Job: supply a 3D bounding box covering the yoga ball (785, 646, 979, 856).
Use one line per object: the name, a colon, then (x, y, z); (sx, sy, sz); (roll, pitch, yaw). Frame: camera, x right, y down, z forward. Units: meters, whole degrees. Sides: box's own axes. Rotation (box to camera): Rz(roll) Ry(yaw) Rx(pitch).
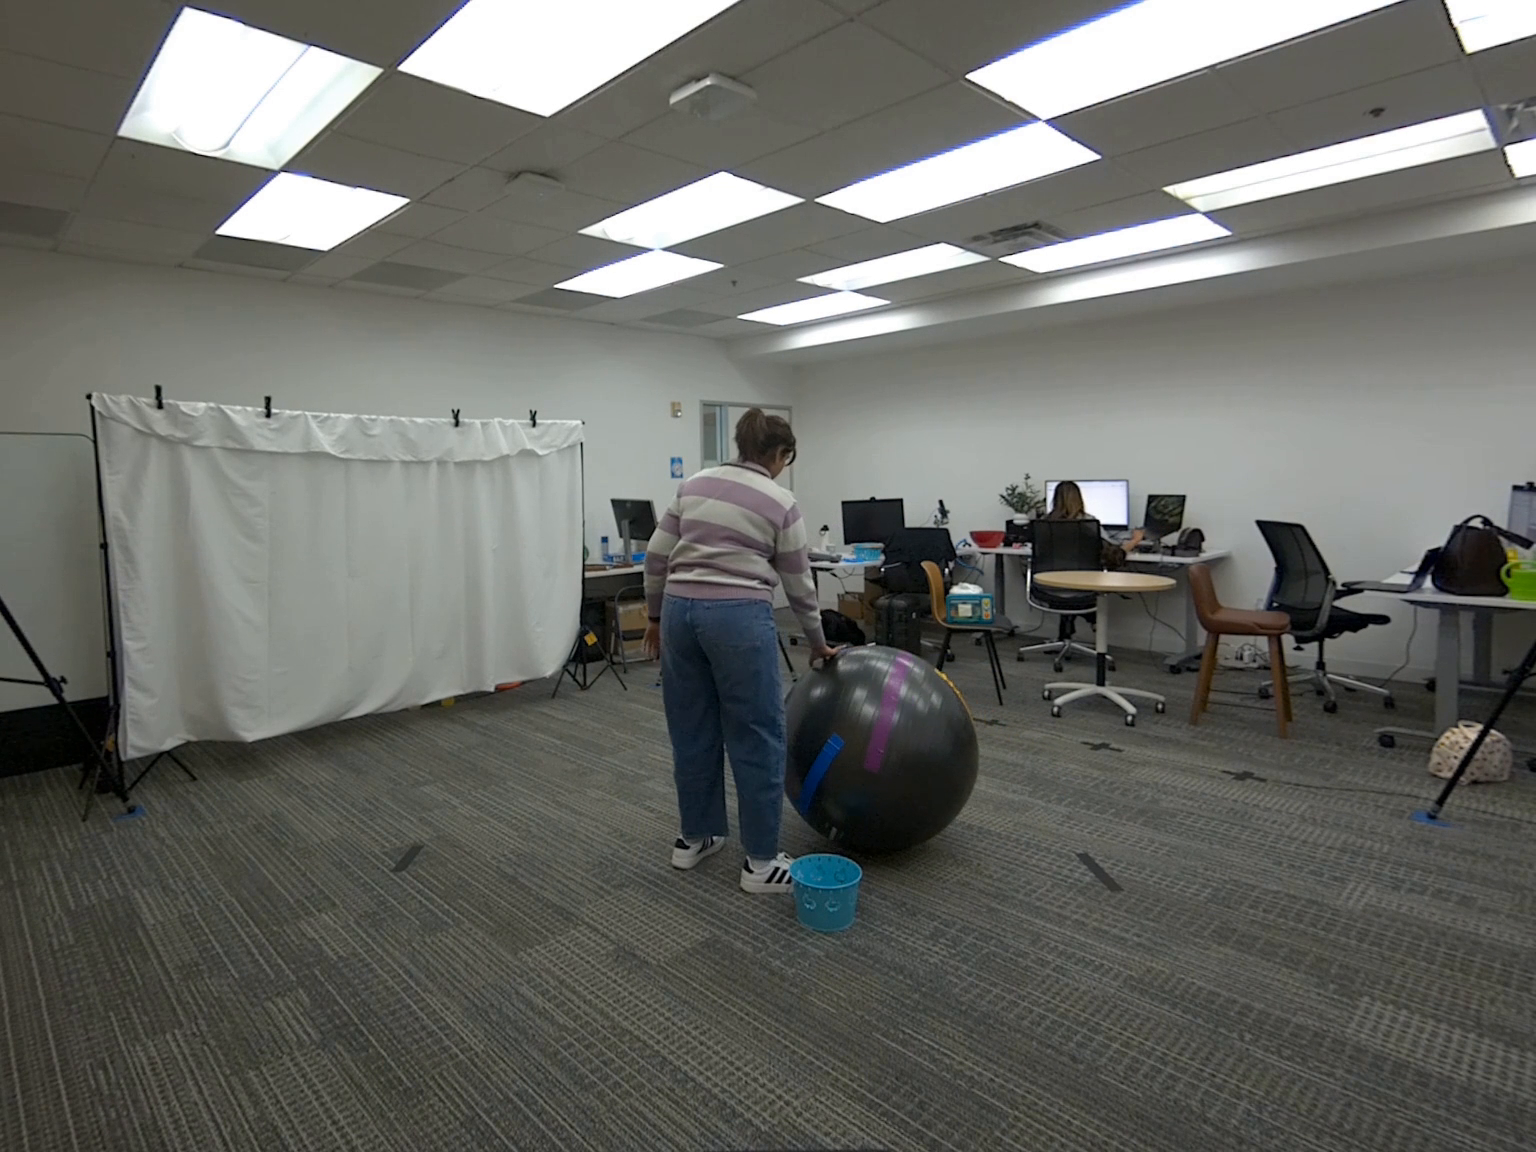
yoga ball: (0.408, 0.656, 3.245); (0.757, 0.755, 0.762); (-1, 5, -2)
